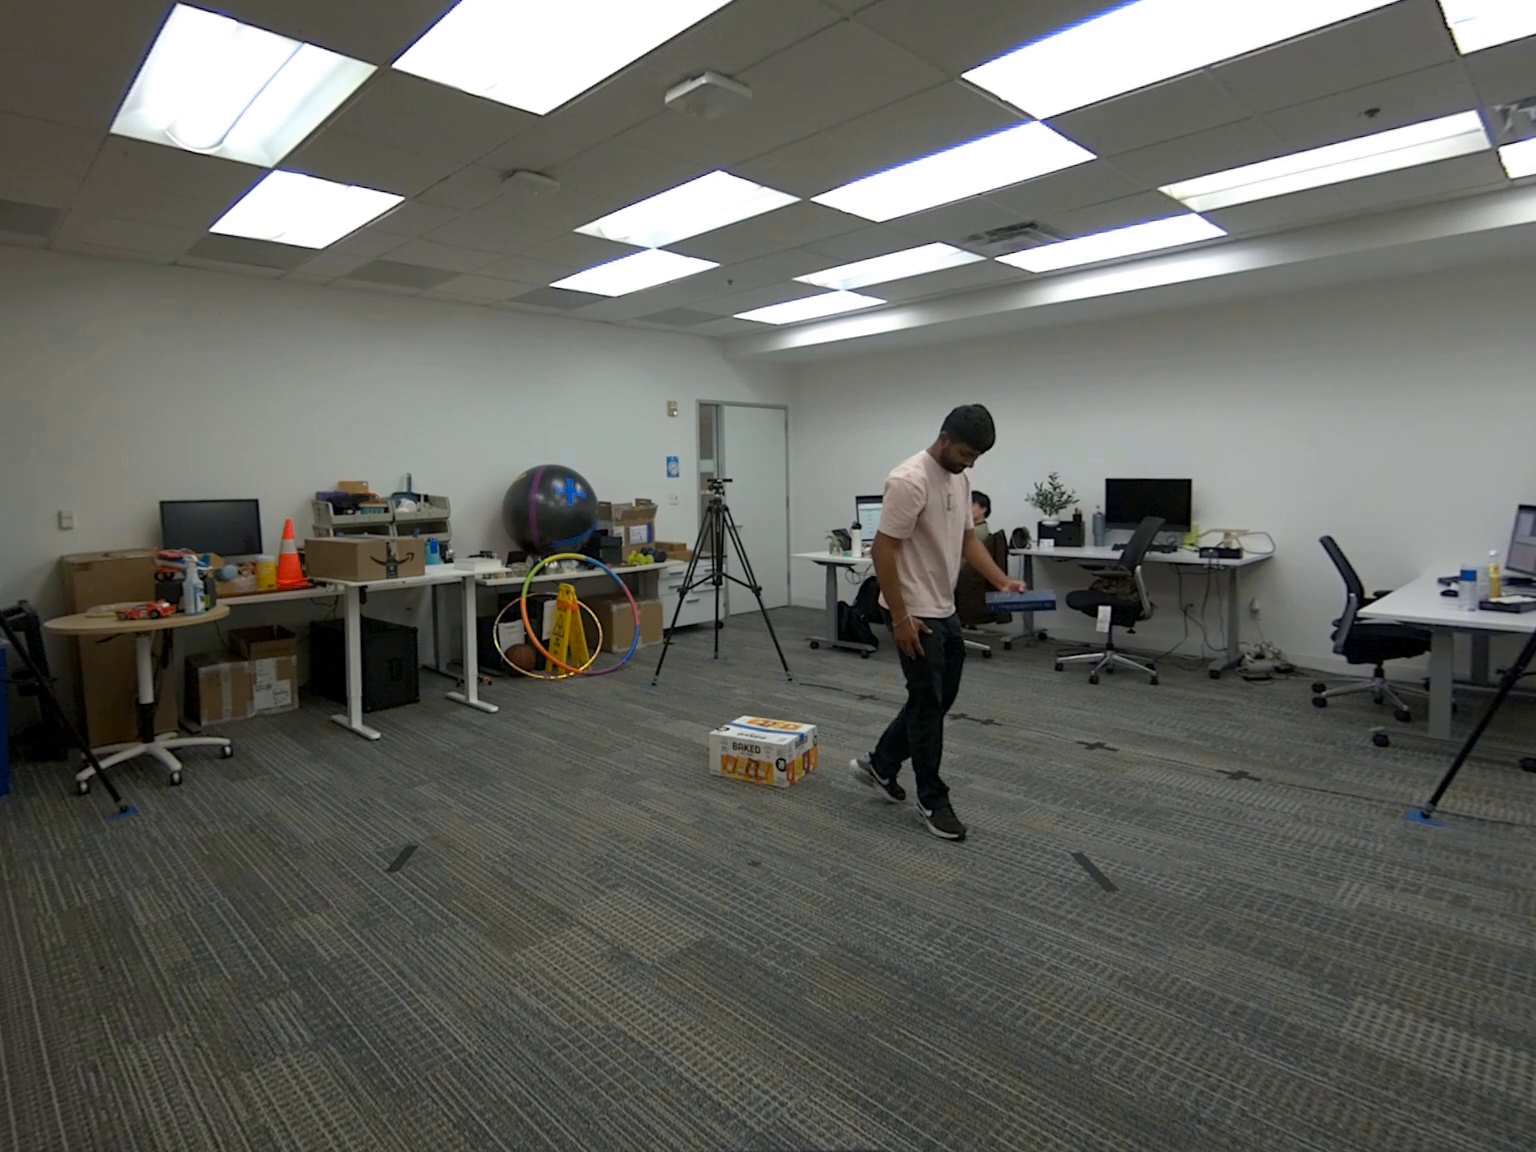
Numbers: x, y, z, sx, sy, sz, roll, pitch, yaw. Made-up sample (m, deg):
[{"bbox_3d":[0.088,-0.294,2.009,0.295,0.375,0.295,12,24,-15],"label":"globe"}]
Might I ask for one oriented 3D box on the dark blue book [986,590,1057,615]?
[{"bbox_3d":[0.935,0.092,3.214,0.249,0.045,0.162,-4,10,17],"label":"dark blue book"}]
